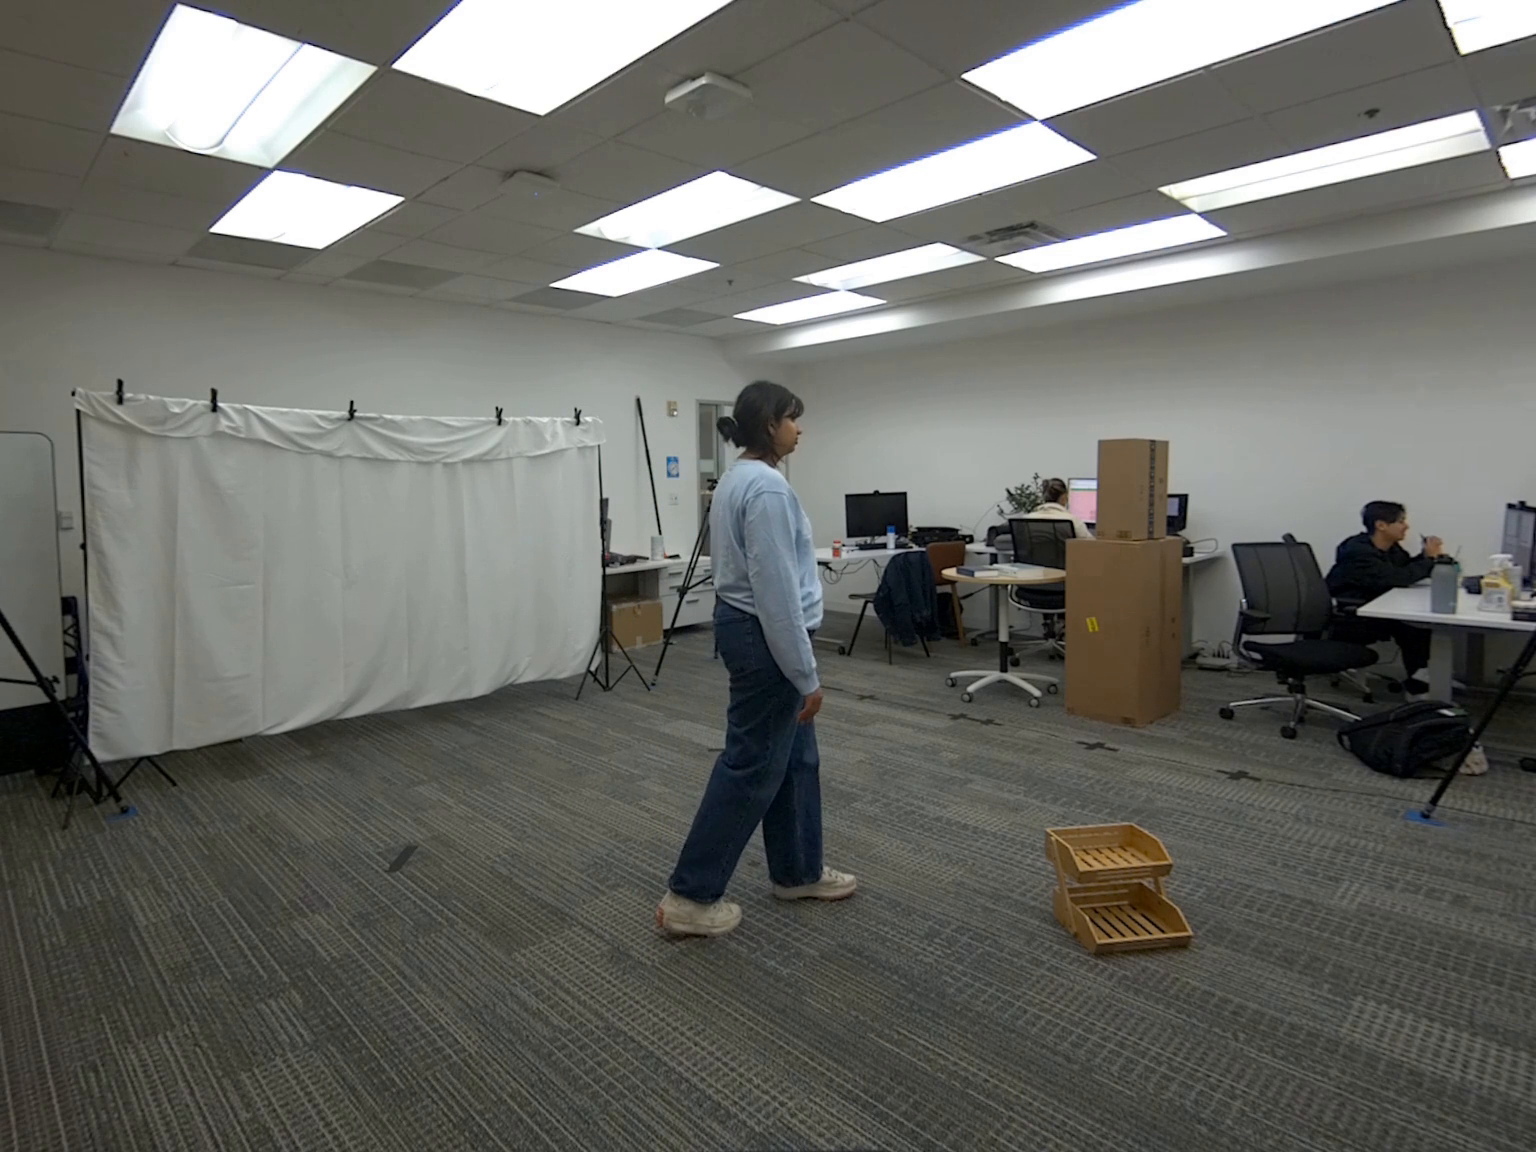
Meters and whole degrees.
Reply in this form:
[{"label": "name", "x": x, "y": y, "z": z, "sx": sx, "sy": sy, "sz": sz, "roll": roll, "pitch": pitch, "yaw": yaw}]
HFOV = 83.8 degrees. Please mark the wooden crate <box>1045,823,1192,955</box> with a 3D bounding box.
[{"label": "wooden crate", "x": 1.069, "y": 0.946, "z": 2.607, "sx": 0.322, "sy": 0.272, "sz": 0.306, "roll": -2, "pitch": 4, "yaw": -9}]
